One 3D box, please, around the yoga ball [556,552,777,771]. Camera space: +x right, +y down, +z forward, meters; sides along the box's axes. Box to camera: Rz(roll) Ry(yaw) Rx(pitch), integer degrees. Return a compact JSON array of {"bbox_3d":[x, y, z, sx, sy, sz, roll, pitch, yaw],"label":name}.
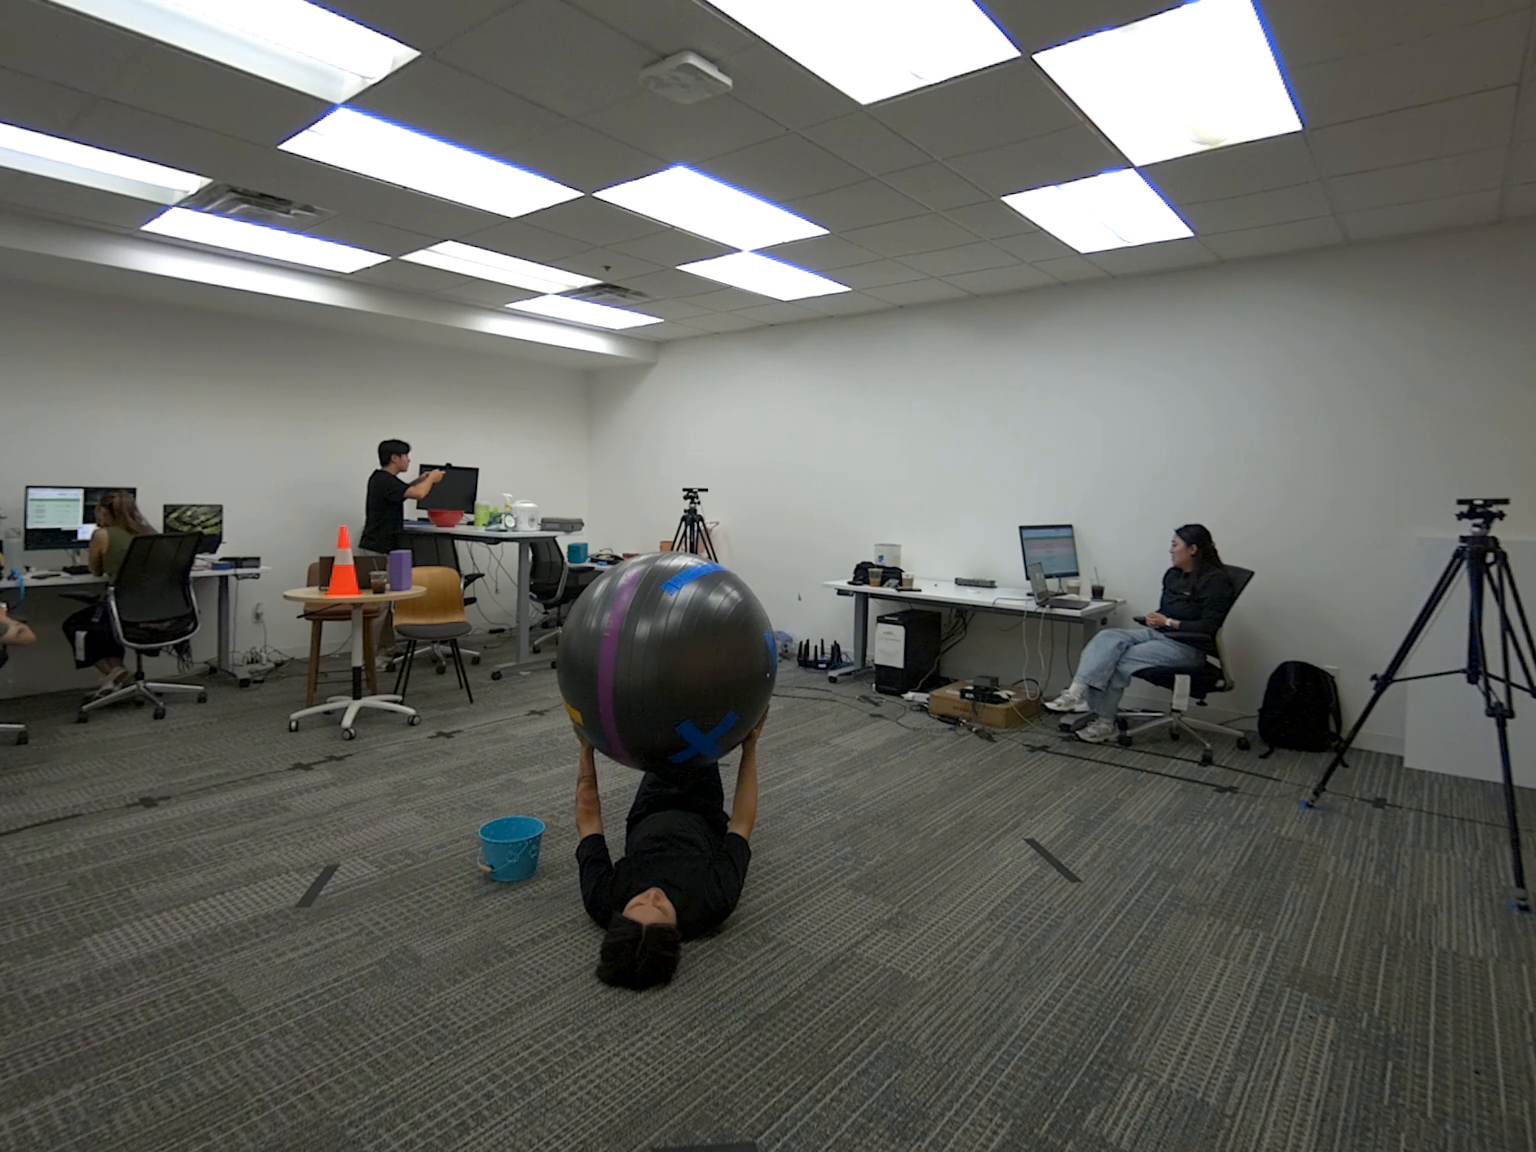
[{"bbox_3d":[-0.356,0.299,2.953,0.757,0.755,0.762,1,4,-2],"label":"yoga ball"}]
